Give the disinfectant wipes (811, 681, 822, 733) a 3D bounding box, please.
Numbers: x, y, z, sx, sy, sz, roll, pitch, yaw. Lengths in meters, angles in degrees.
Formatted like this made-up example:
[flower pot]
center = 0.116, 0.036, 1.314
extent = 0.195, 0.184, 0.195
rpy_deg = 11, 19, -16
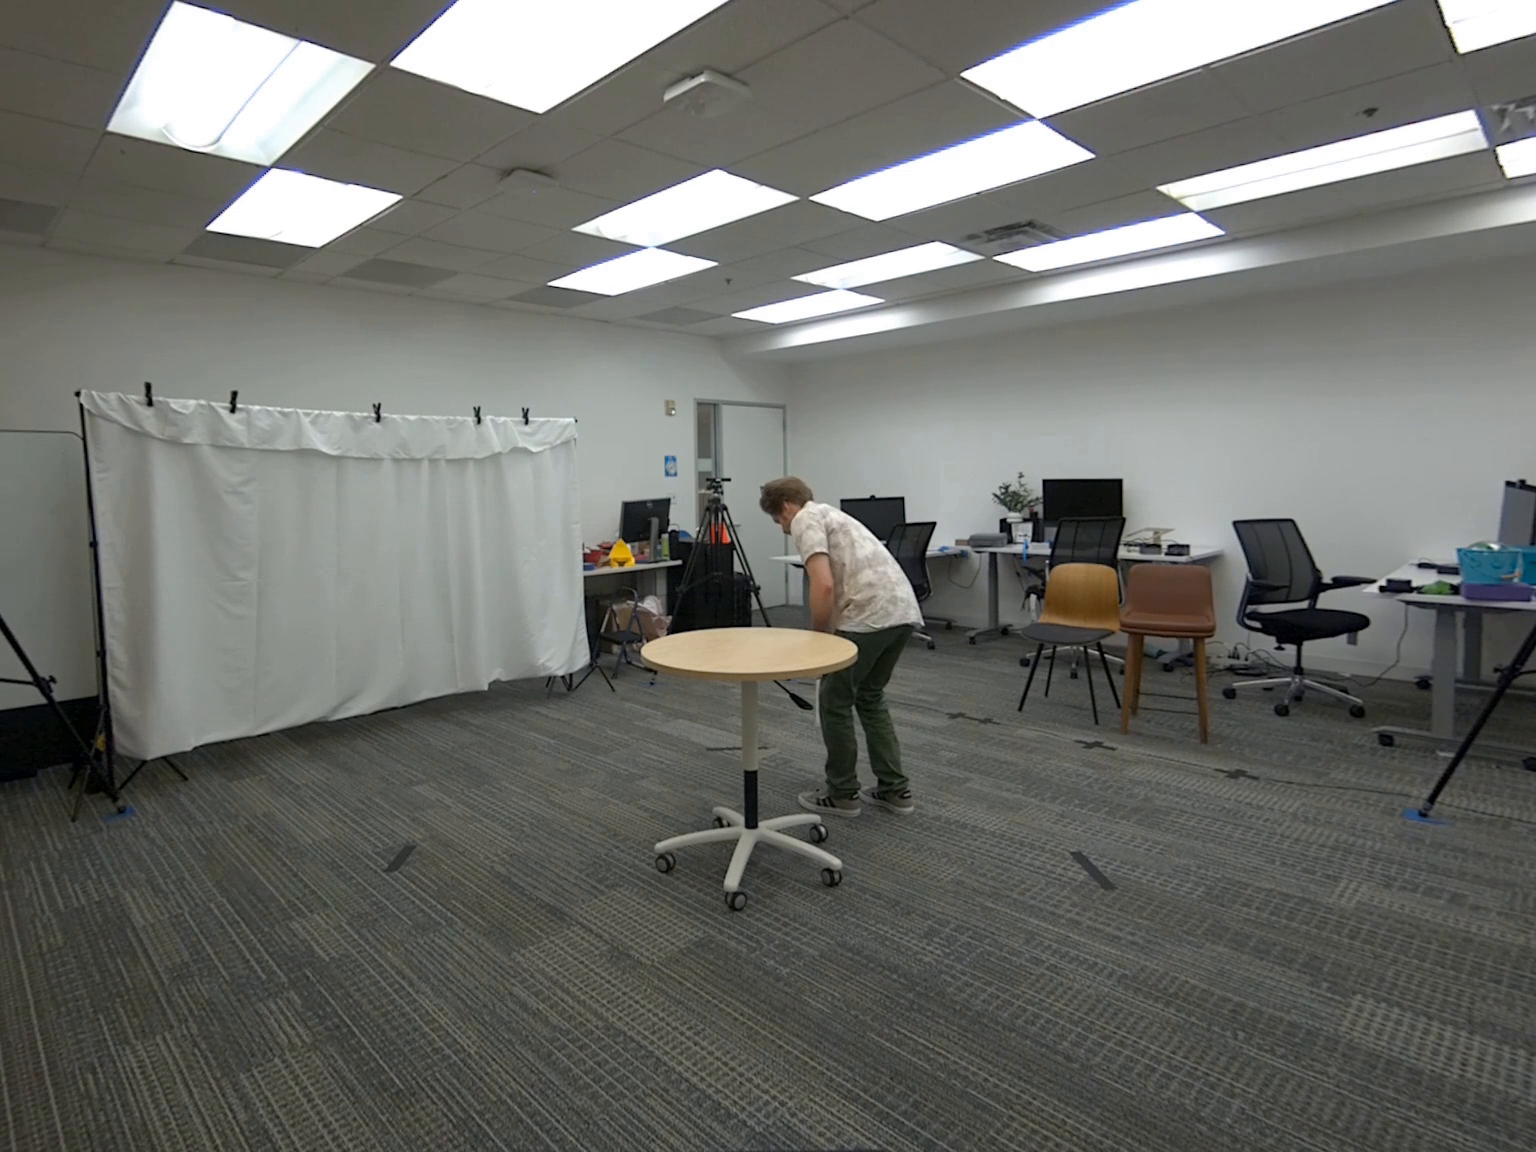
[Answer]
[disinfectant wipes]
center = 0.266, 0.587, 3.844
extent = 0.118, 0.219, 0.117
rpy_deg = 5, -8, -1
